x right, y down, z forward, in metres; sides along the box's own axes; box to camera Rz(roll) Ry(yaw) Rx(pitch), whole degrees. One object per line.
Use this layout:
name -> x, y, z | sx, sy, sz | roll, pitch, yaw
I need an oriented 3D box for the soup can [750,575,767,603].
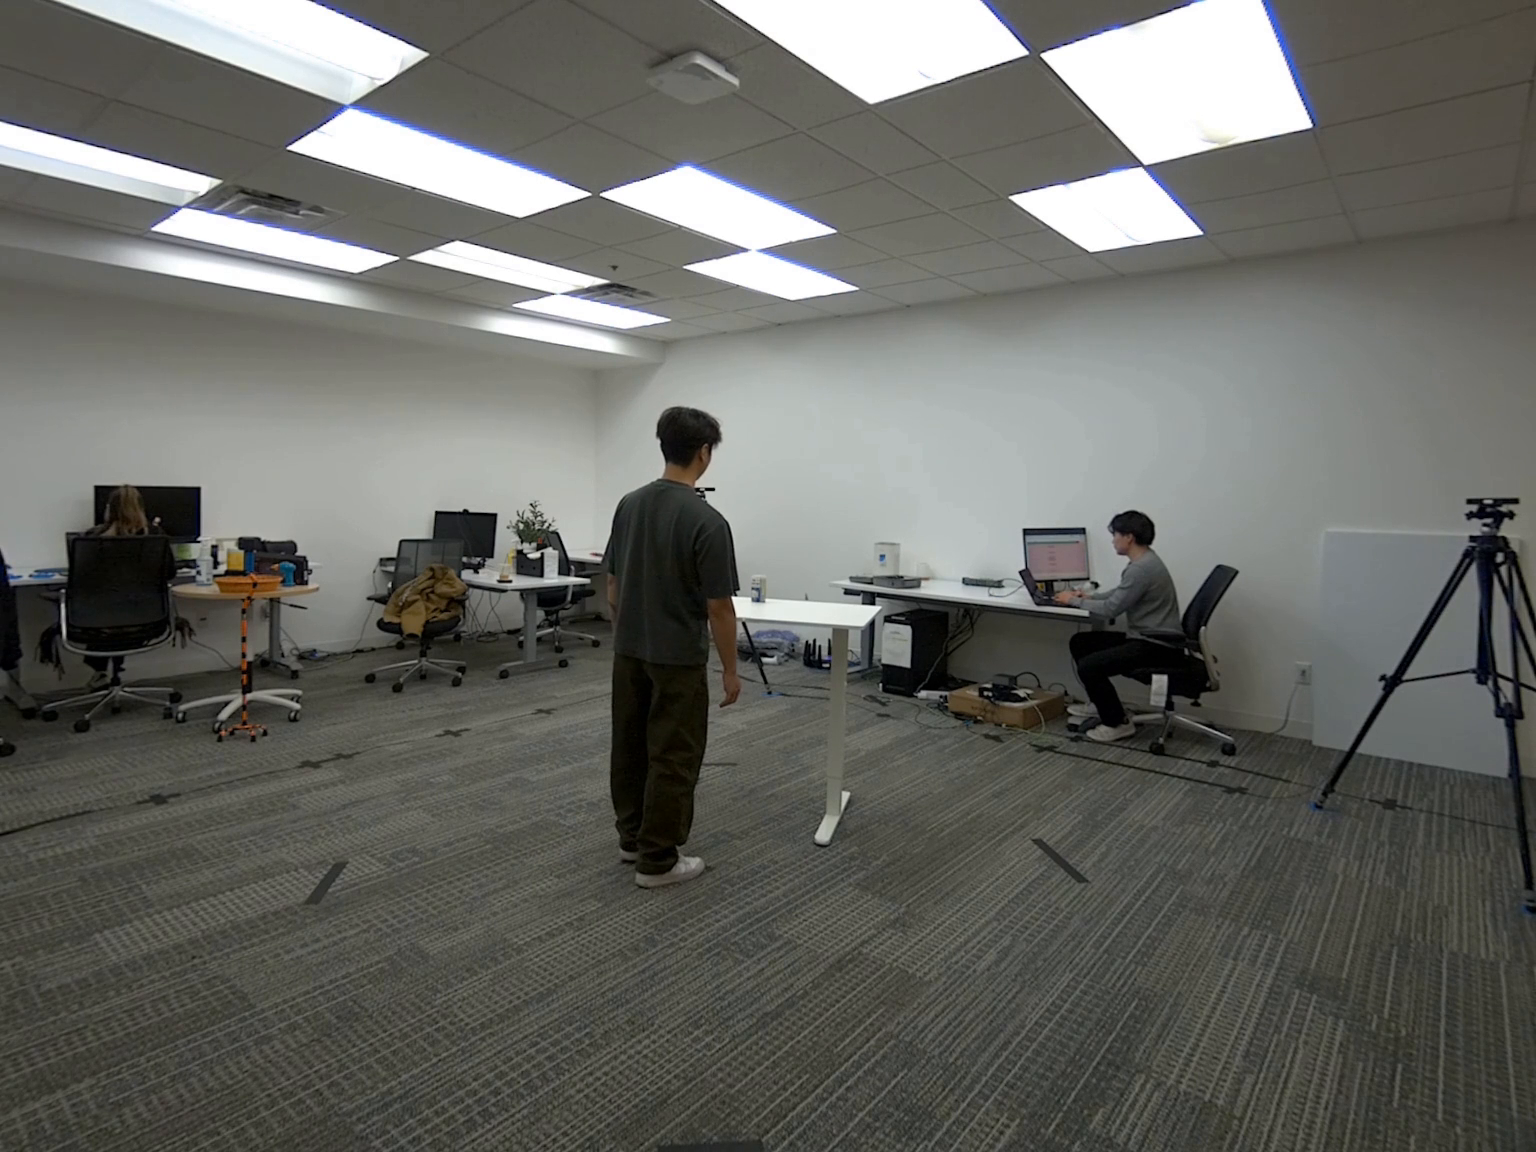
soup can -> -0.055, 0.054, 3.850 | 0.067, 0.121, 0.067 | 1, 1, -2
